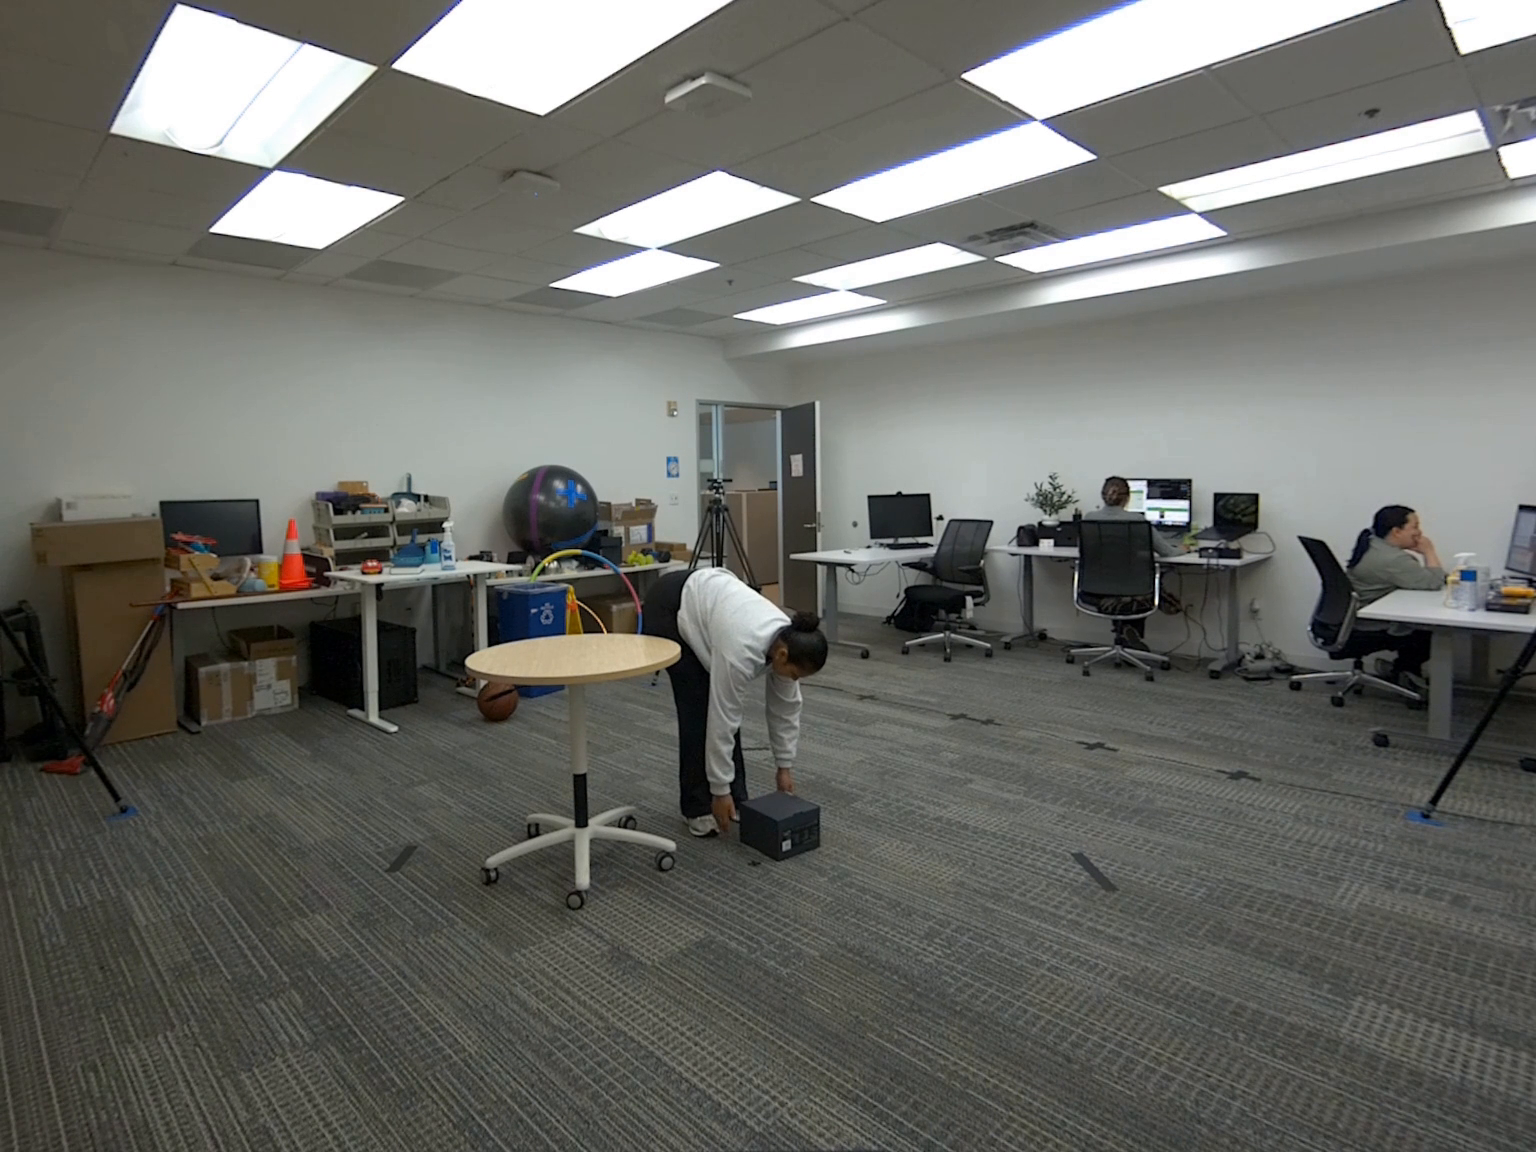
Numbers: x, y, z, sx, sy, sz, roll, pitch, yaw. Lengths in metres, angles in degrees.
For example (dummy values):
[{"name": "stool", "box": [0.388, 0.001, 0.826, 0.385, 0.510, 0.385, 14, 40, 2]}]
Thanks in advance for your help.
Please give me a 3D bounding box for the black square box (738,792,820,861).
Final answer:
[{"name": "black square box", "box": [0.041, 0.947, 3.261, 0.211, 0.155, 0.235, -6, 7, -38]}]
